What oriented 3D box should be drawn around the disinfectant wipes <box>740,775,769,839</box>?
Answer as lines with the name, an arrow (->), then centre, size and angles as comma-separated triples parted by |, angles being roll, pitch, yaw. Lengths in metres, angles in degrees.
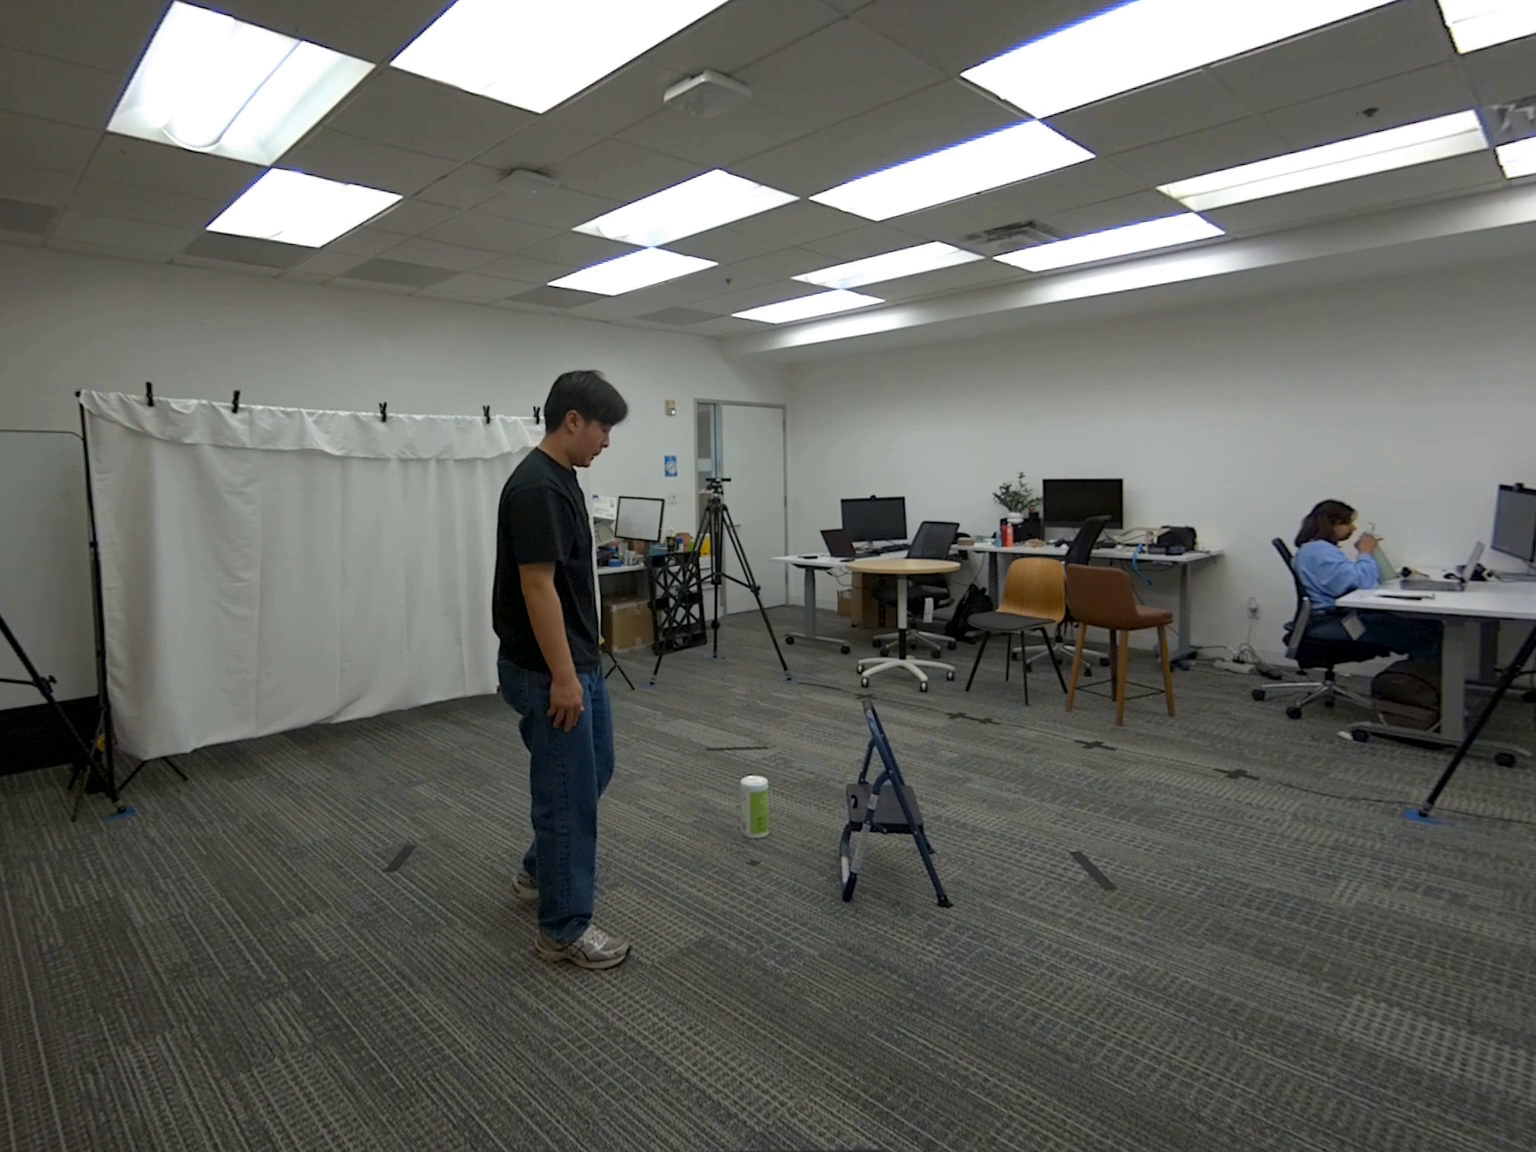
disinfectant wipes -> -0.048, 0.907, 3.353 | 0.118, 0.216, 0.118 | 0, 5, -2
